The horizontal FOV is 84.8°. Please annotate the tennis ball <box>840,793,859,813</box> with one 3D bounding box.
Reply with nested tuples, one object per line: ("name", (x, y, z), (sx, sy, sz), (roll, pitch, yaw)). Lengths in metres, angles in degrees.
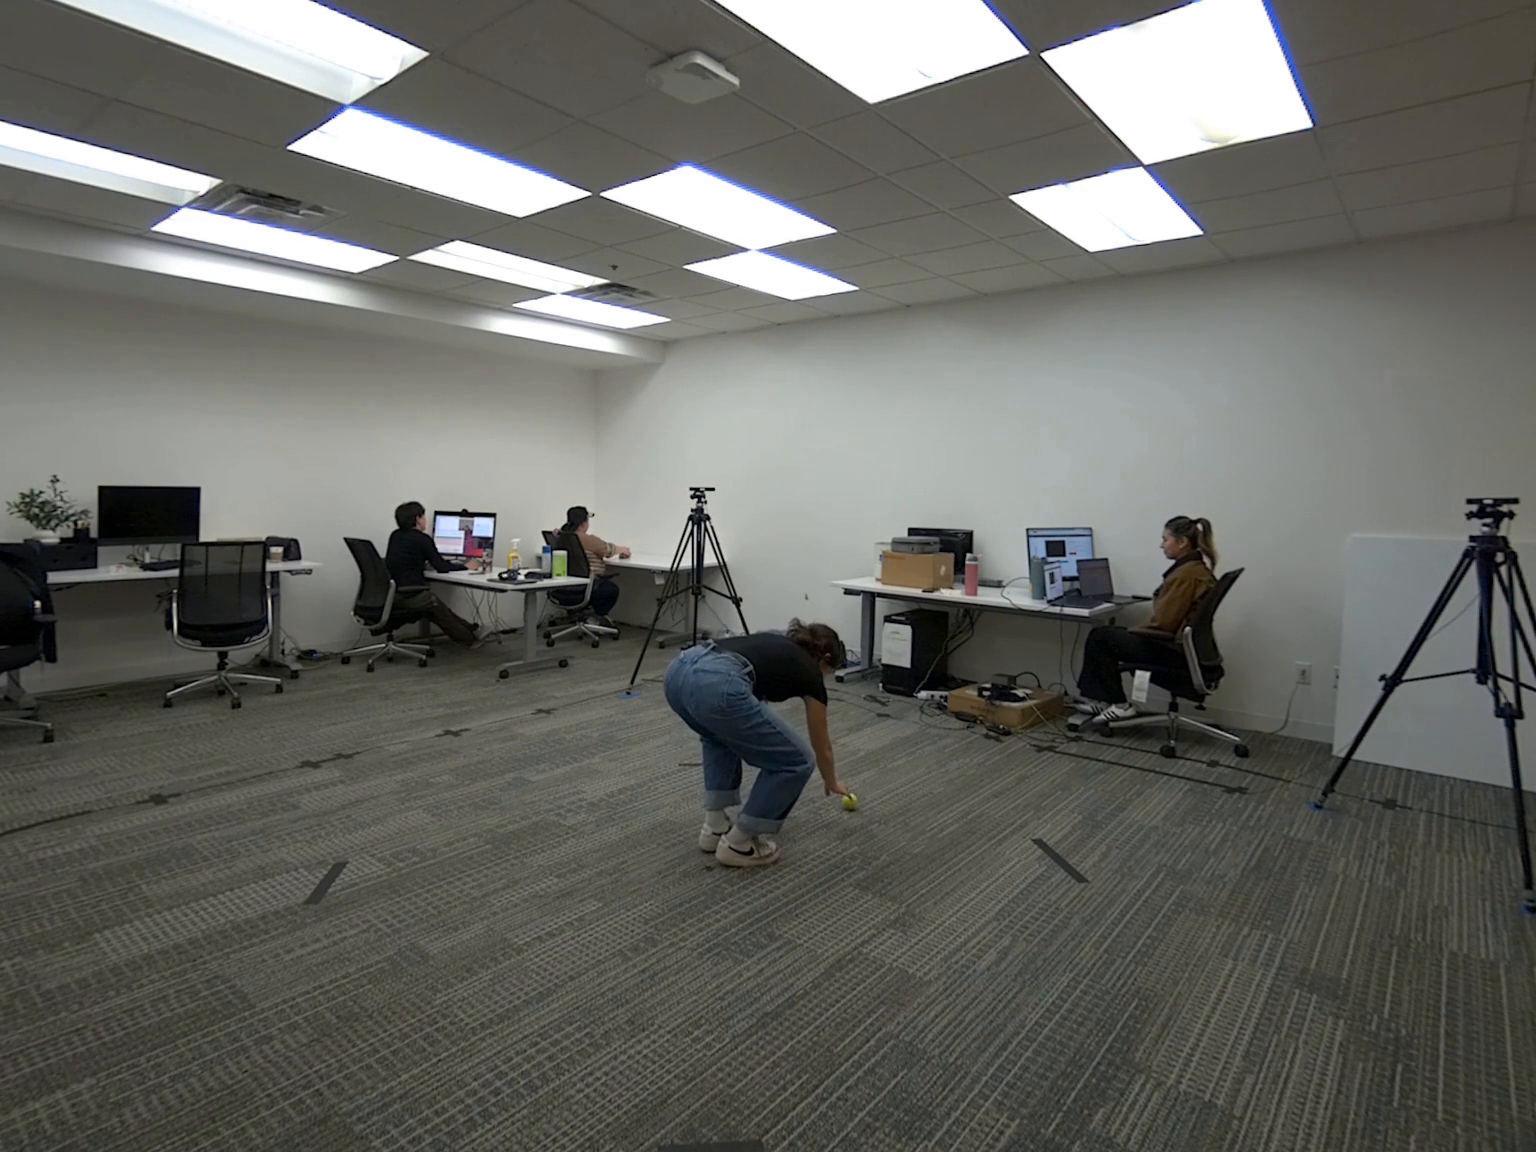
("tennis ball", (0.322, 0.965, 3.685), (0.066, 0.066, 0.067), (1, 4, -2))
